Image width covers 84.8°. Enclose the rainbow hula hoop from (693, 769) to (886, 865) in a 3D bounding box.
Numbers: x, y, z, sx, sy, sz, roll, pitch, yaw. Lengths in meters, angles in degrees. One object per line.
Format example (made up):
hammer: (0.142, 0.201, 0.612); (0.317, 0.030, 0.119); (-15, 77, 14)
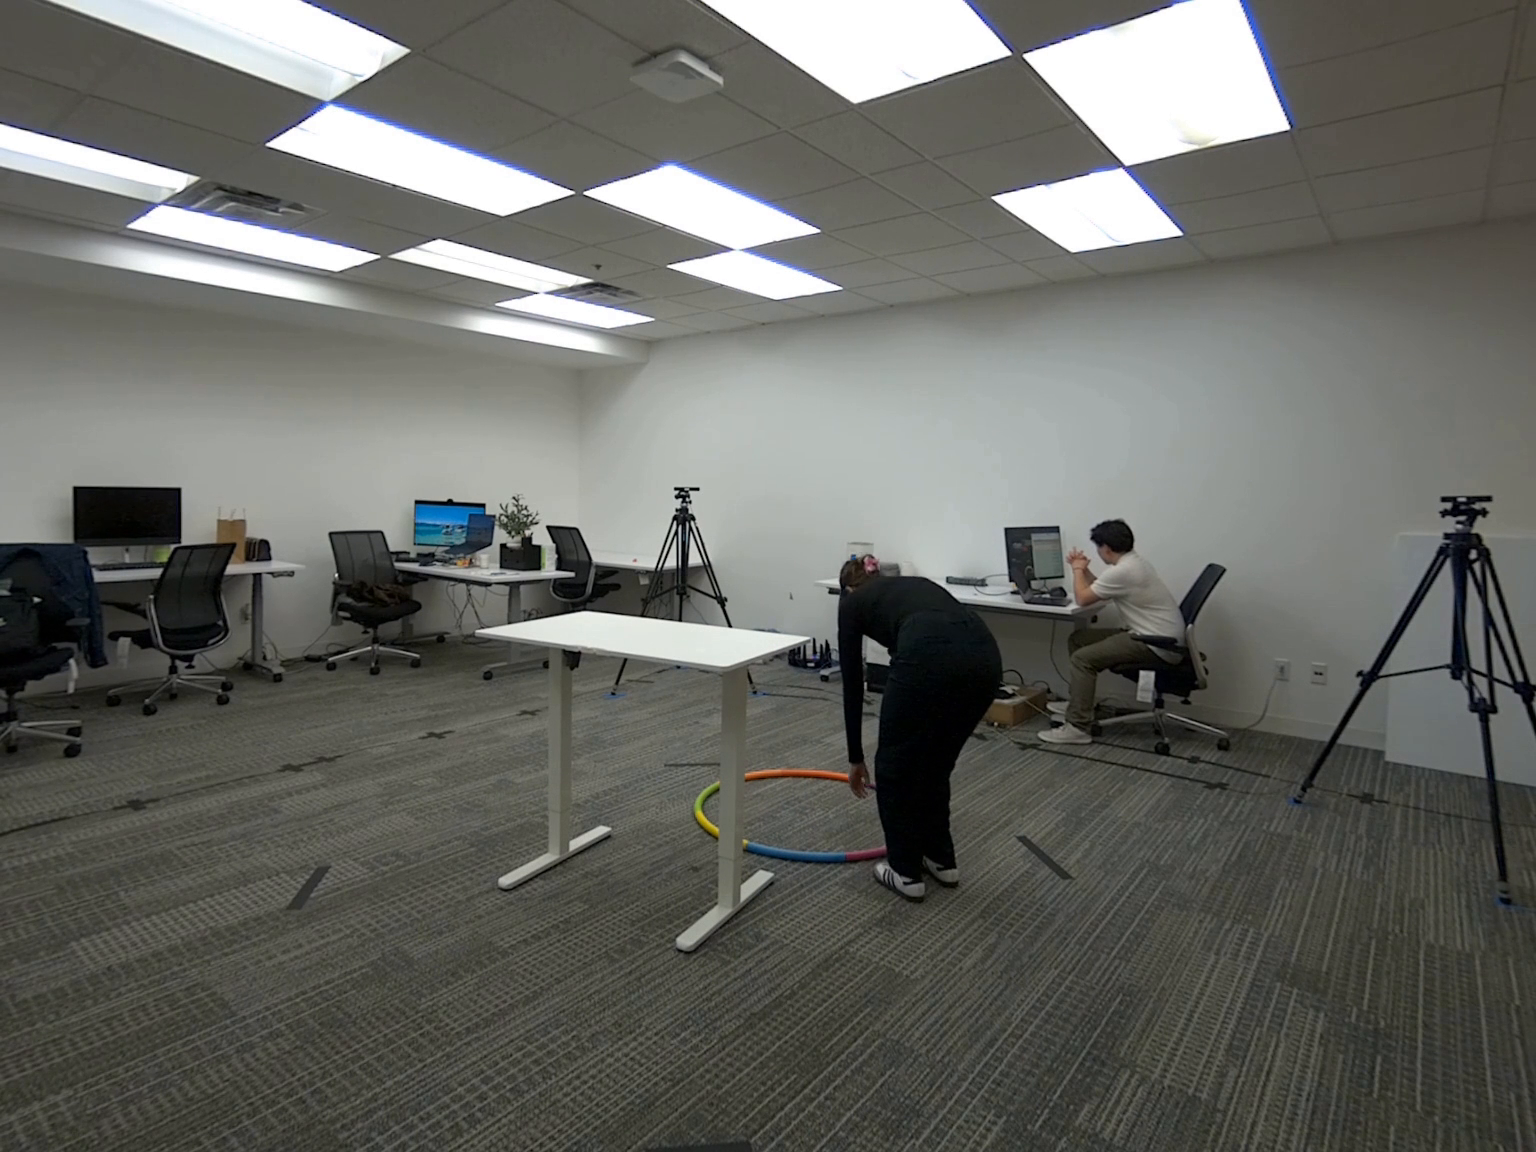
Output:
rainbow hula hoop: (0.161, 0.992, 3.659); (0.978, 0.035, 0.984); (1, 6, -2)
